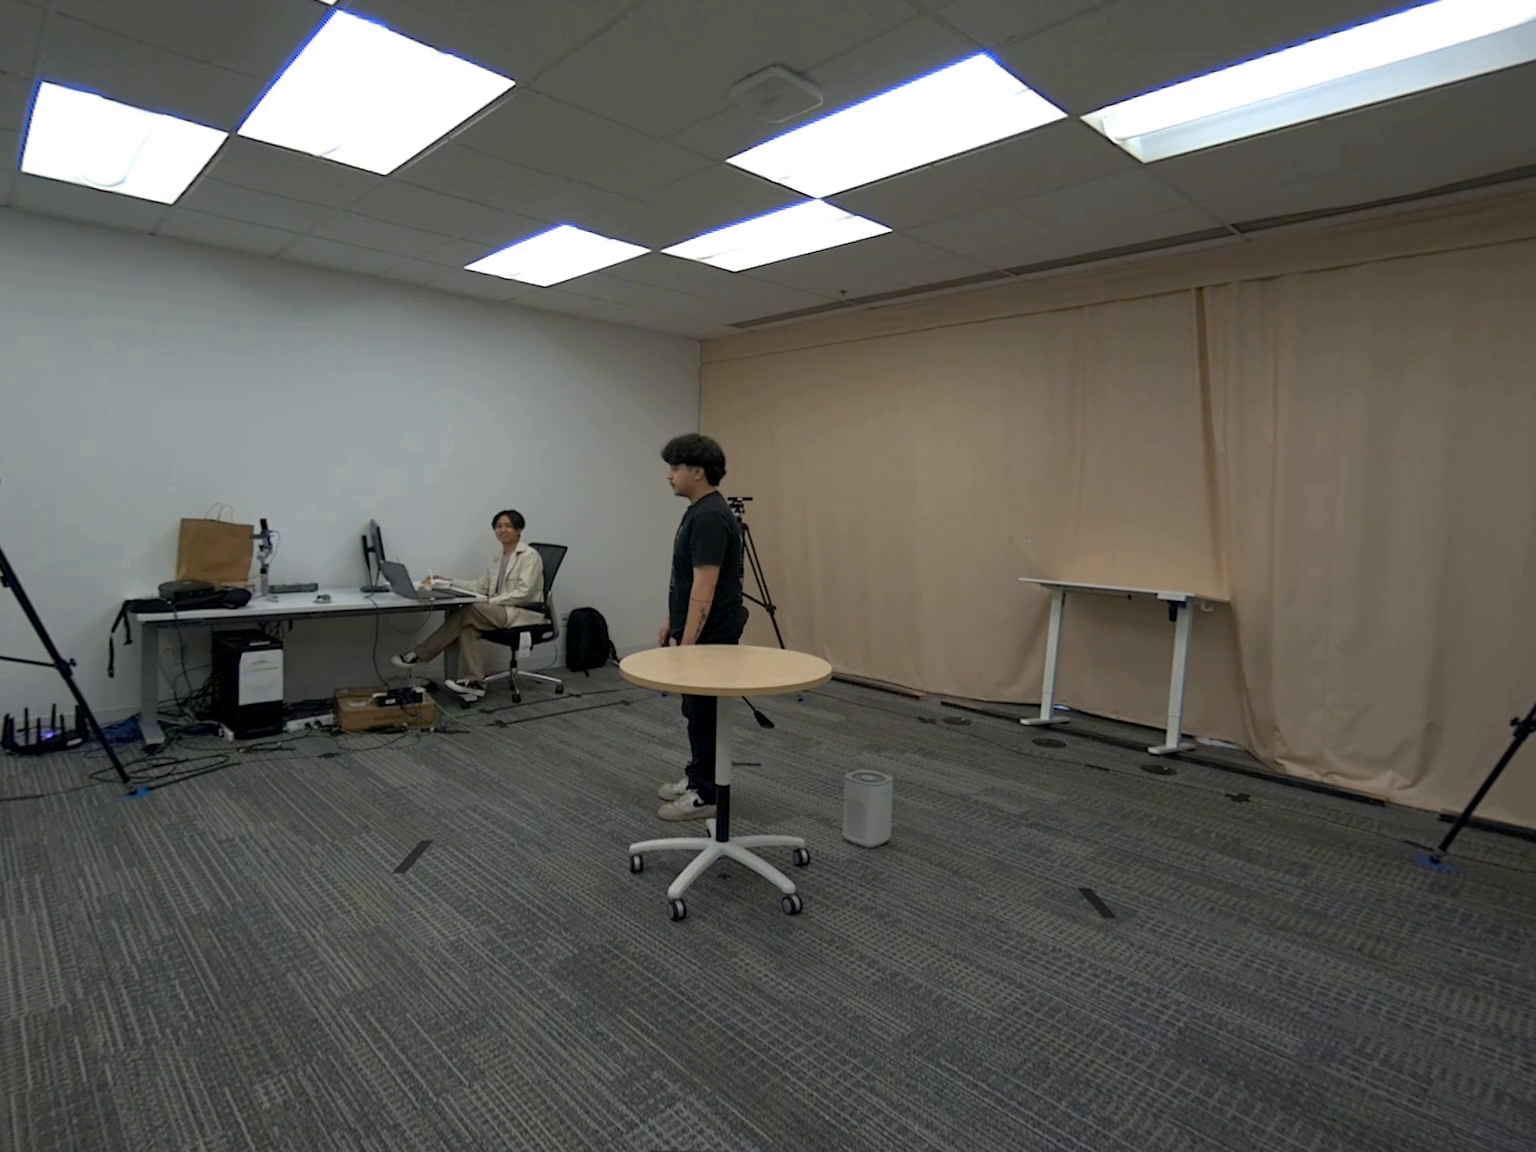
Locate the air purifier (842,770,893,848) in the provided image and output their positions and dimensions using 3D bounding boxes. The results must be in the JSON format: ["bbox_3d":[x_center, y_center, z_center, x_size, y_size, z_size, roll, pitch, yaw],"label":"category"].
[{"bbox_3d":[0.401,0.947,3.474,0.176,0.265,0.167,5,5,43],"label":"air purifier"}]
